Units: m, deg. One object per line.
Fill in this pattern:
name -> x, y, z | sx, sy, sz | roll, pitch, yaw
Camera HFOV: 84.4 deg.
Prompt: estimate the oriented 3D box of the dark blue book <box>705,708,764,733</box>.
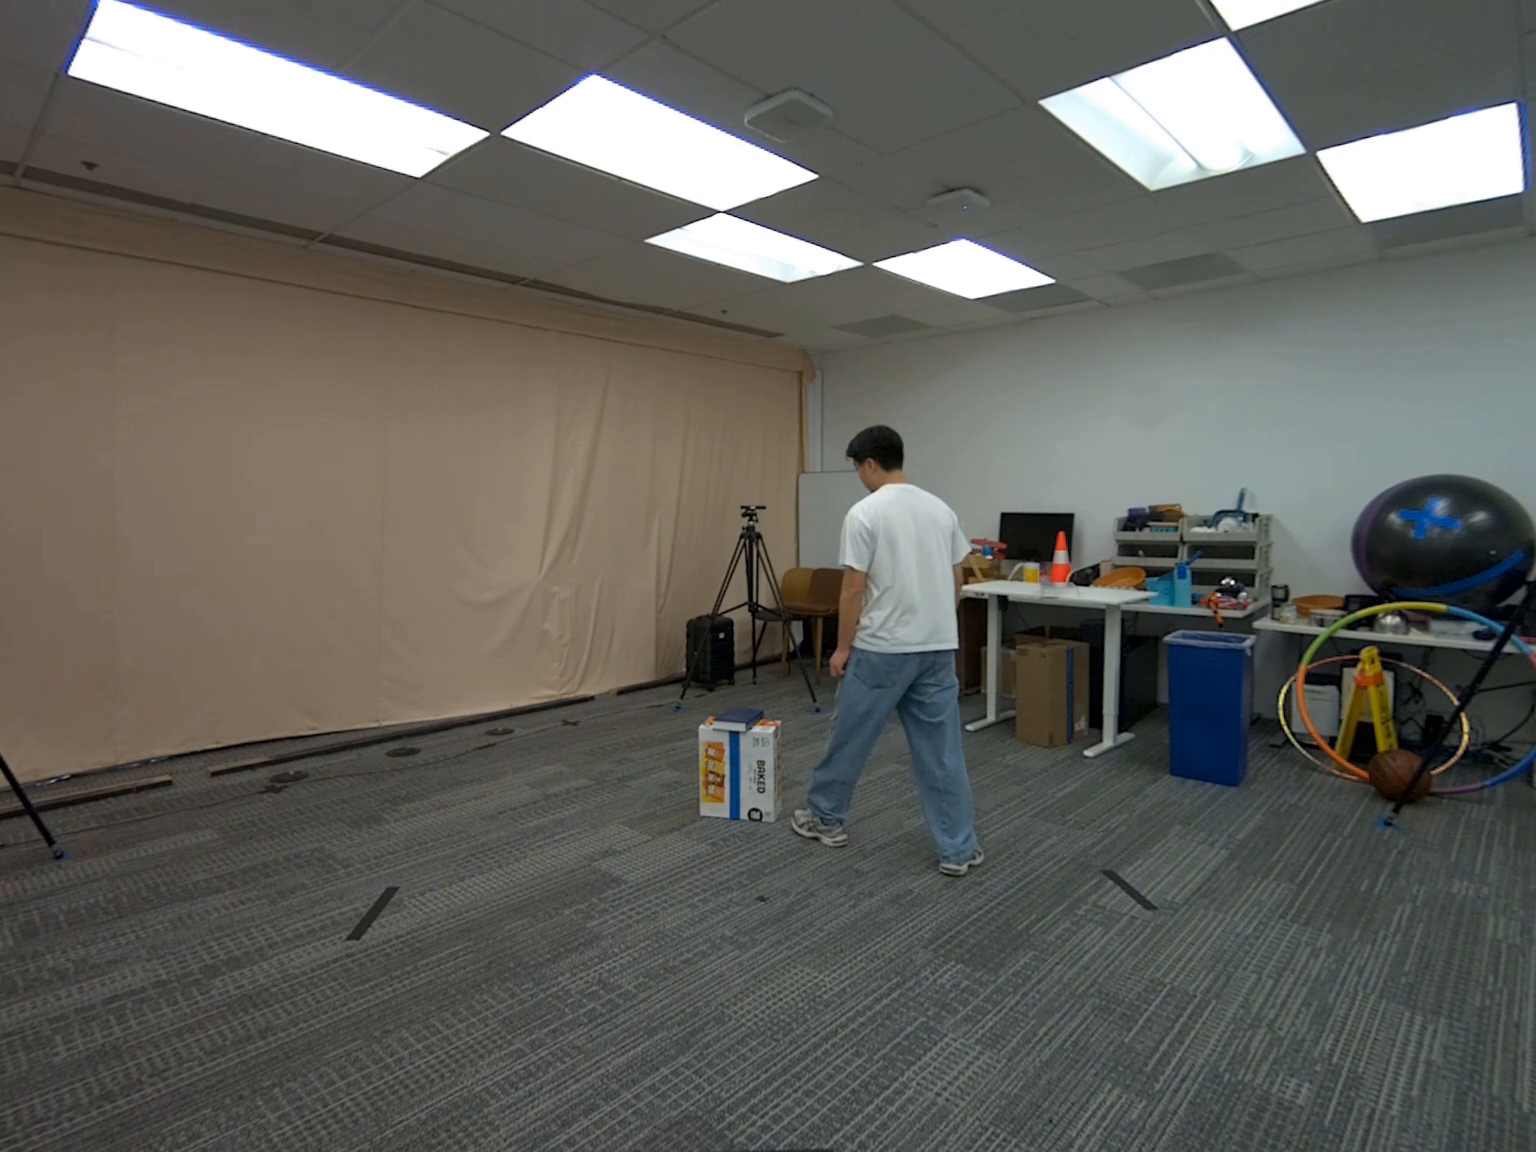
dark blue book -> -0.133, 0.651, 3.830 | 0.167, 0.045, 0.240 | 1, 5, 19
